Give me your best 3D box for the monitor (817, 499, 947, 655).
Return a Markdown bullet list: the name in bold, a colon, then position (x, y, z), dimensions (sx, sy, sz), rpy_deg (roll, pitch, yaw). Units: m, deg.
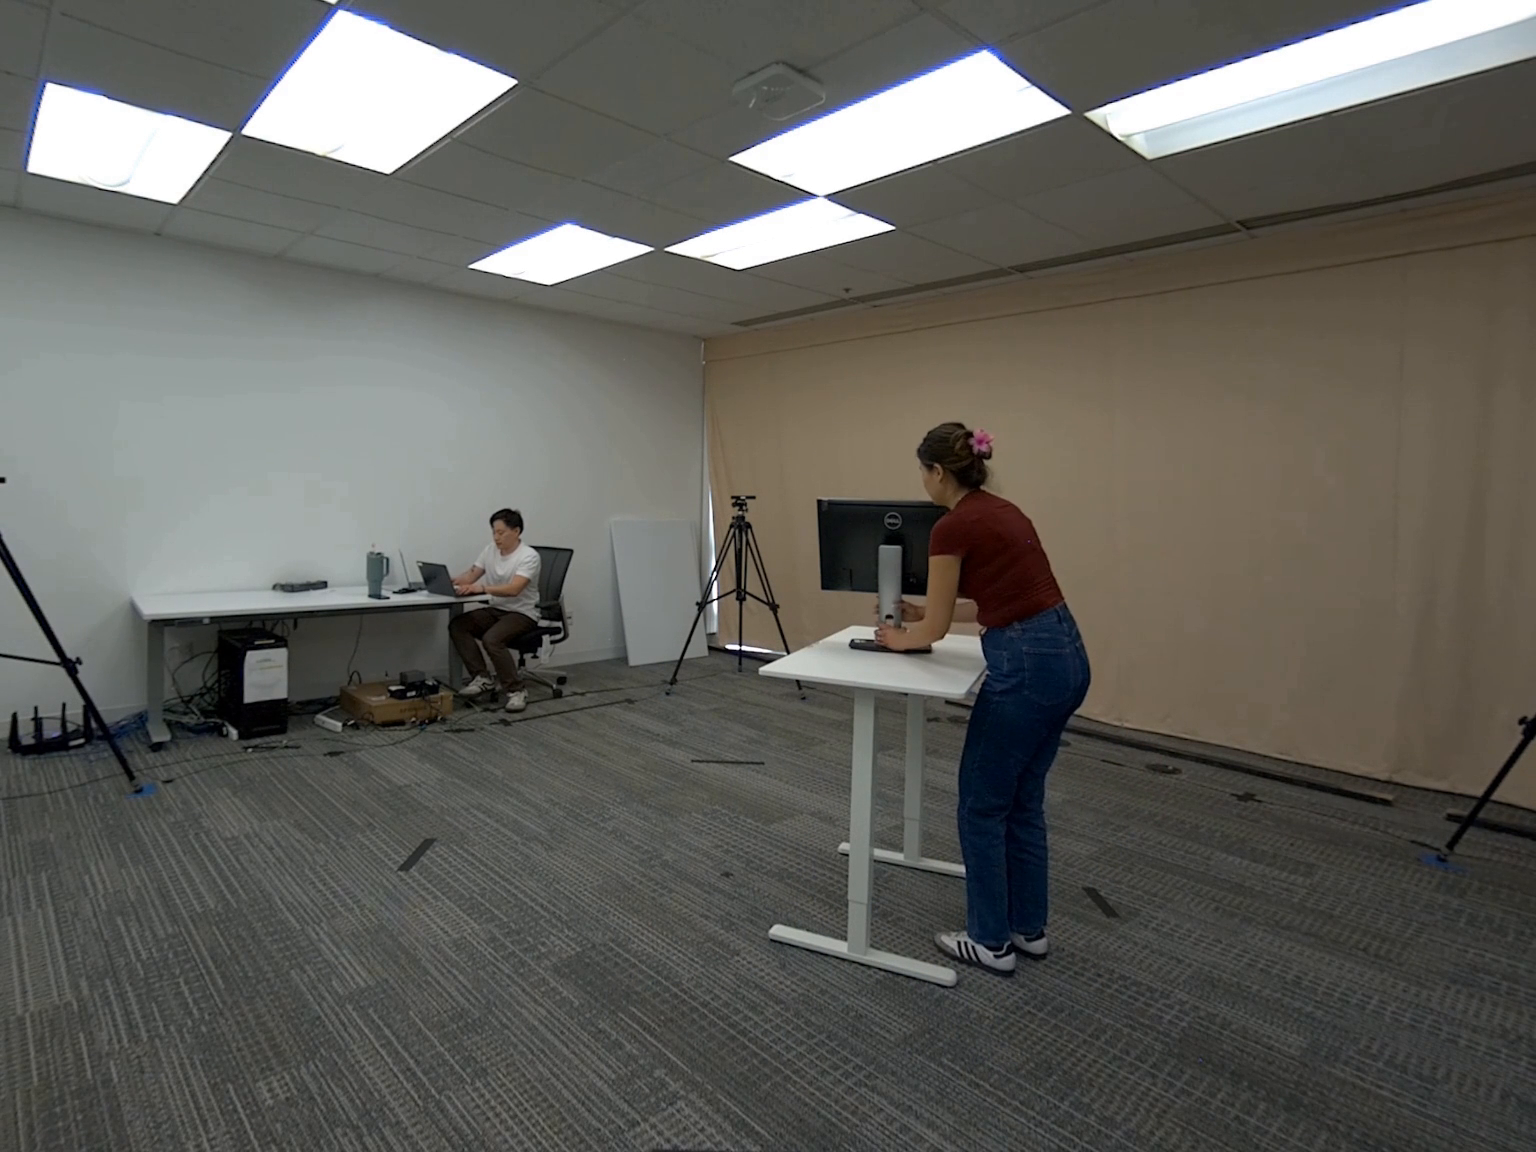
- **monitor**: position (0.423, 0.000, 2.892), dimensions (0.546, 0.519, 0.185), rpy_deg (3, 8, 16)
